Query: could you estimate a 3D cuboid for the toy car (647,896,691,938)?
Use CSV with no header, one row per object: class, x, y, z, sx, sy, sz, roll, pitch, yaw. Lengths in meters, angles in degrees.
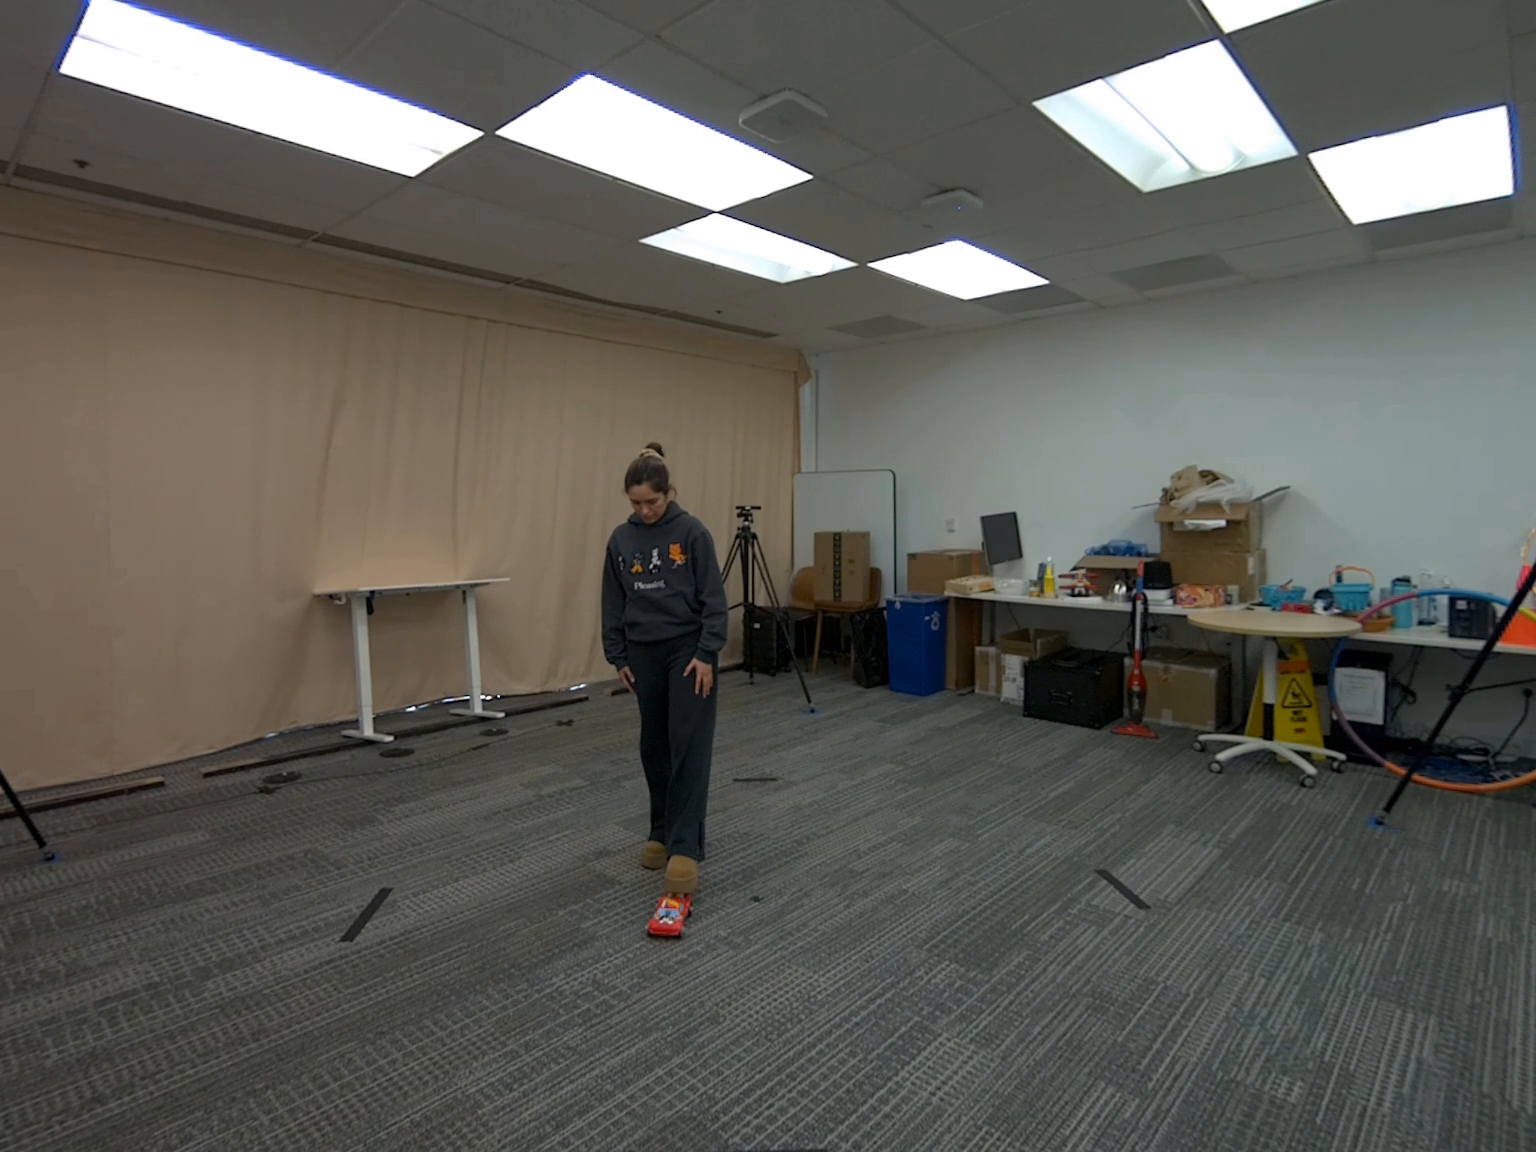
toy car,-0.313,1.127,2.817,0.131,0.082,0.255,0,14,6
